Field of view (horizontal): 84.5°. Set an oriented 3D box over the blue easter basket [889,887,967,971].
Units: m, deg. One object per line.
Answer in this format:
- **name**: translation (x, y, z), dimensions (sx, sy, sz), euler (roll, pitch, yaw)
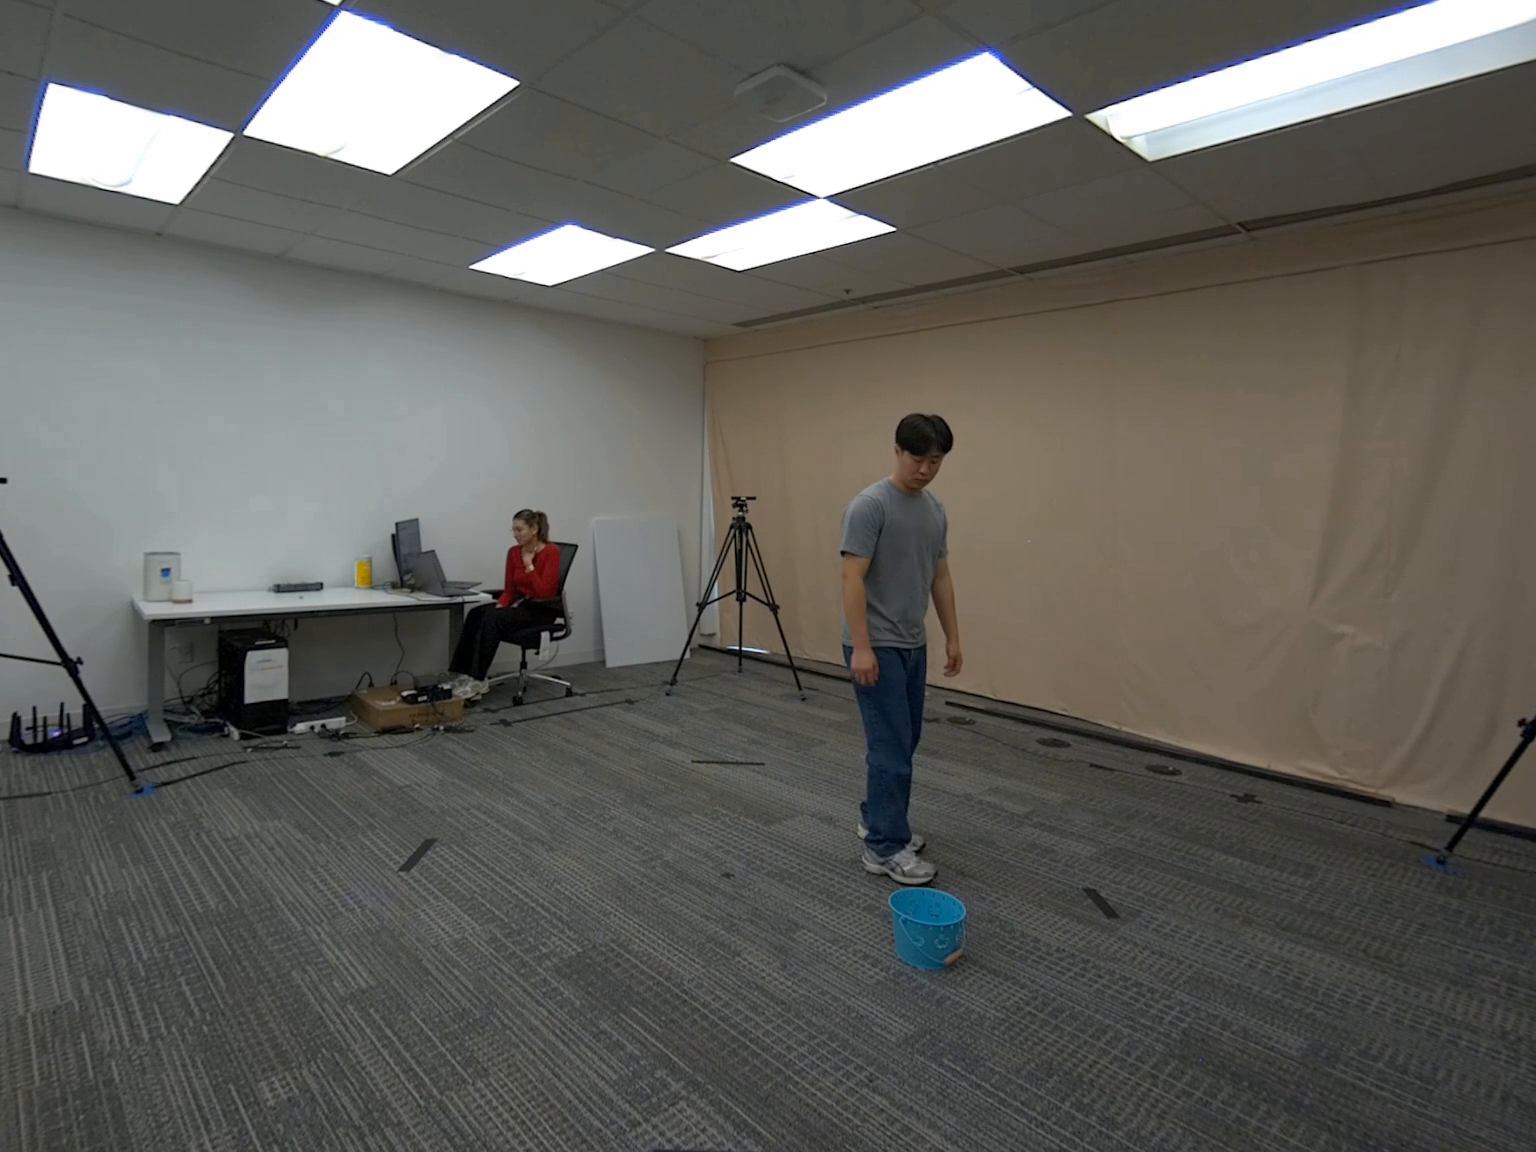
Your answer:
- **blue easter basket**: translation (0.477, 1.090, 2.593), dimensions (0.243, 0.155, 0.244), euler (0, 4, -1)
